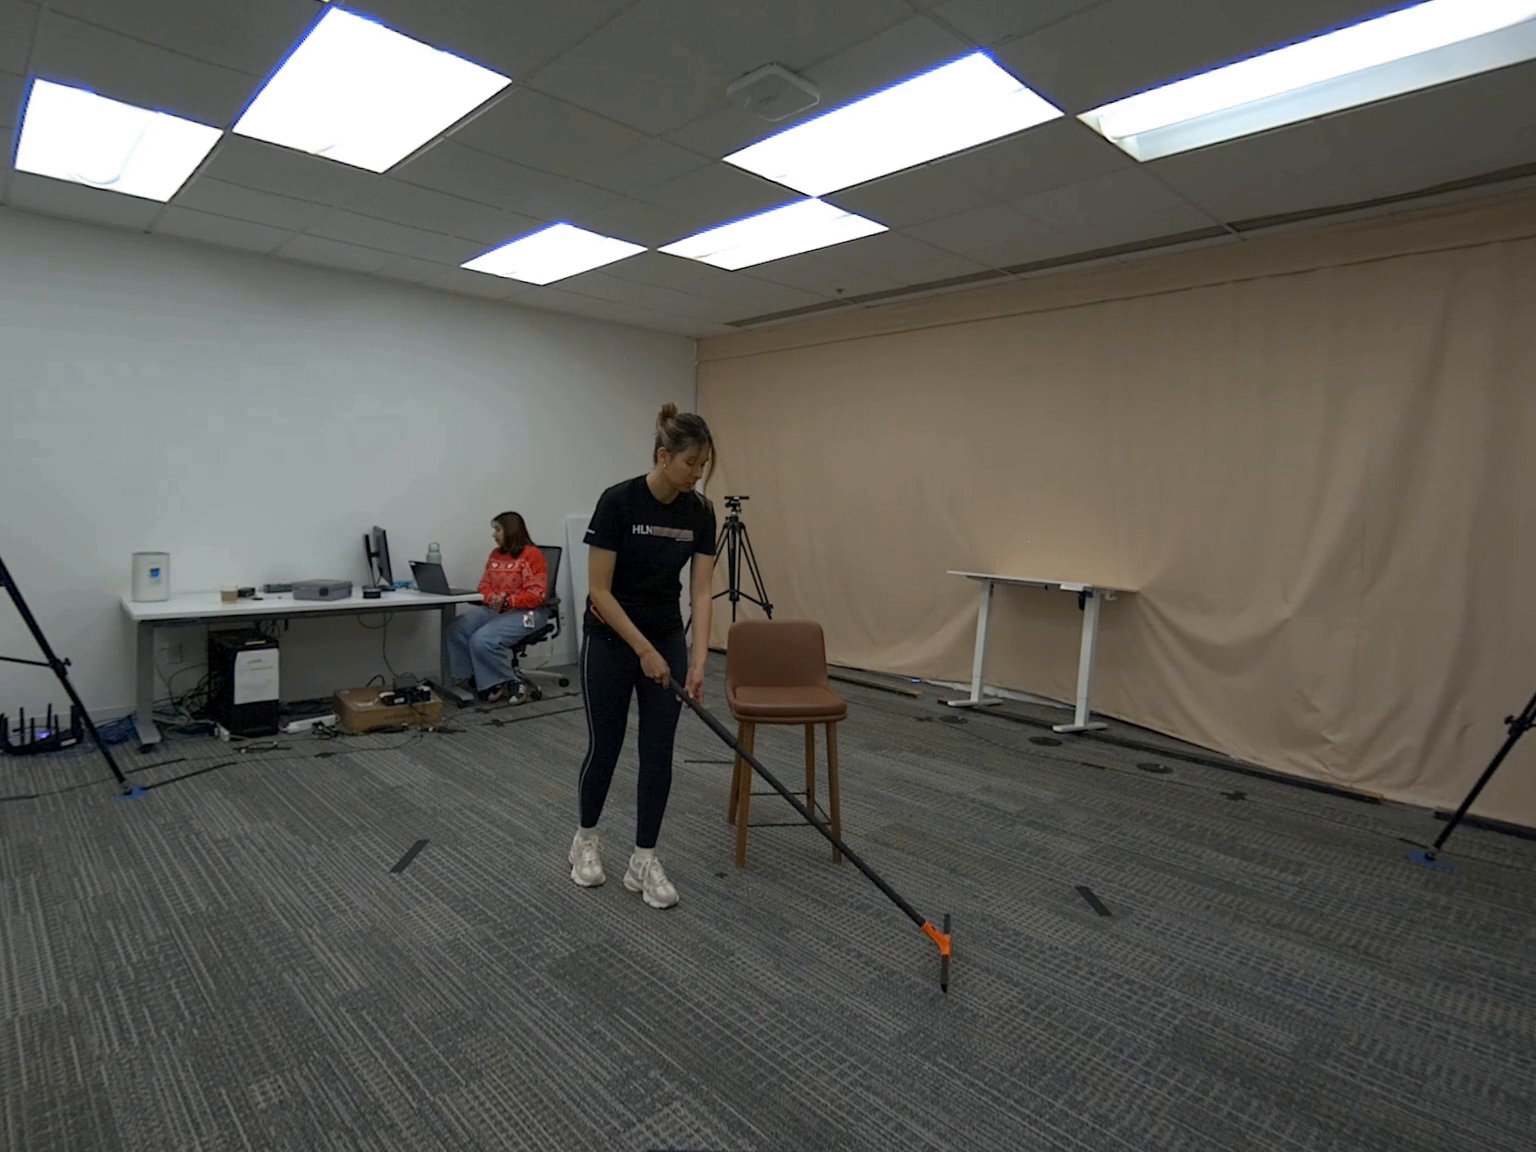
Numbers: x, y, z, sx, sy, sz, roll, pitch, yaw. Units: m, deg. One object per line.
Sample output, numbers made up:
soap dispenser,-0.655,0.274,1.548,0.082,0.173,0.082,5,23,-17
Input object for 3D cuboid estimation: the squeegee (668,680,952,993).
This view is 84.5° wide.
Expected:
squeegee,-0.012,0.576,2.631,1.553,0.053,0.433,44,12,9
